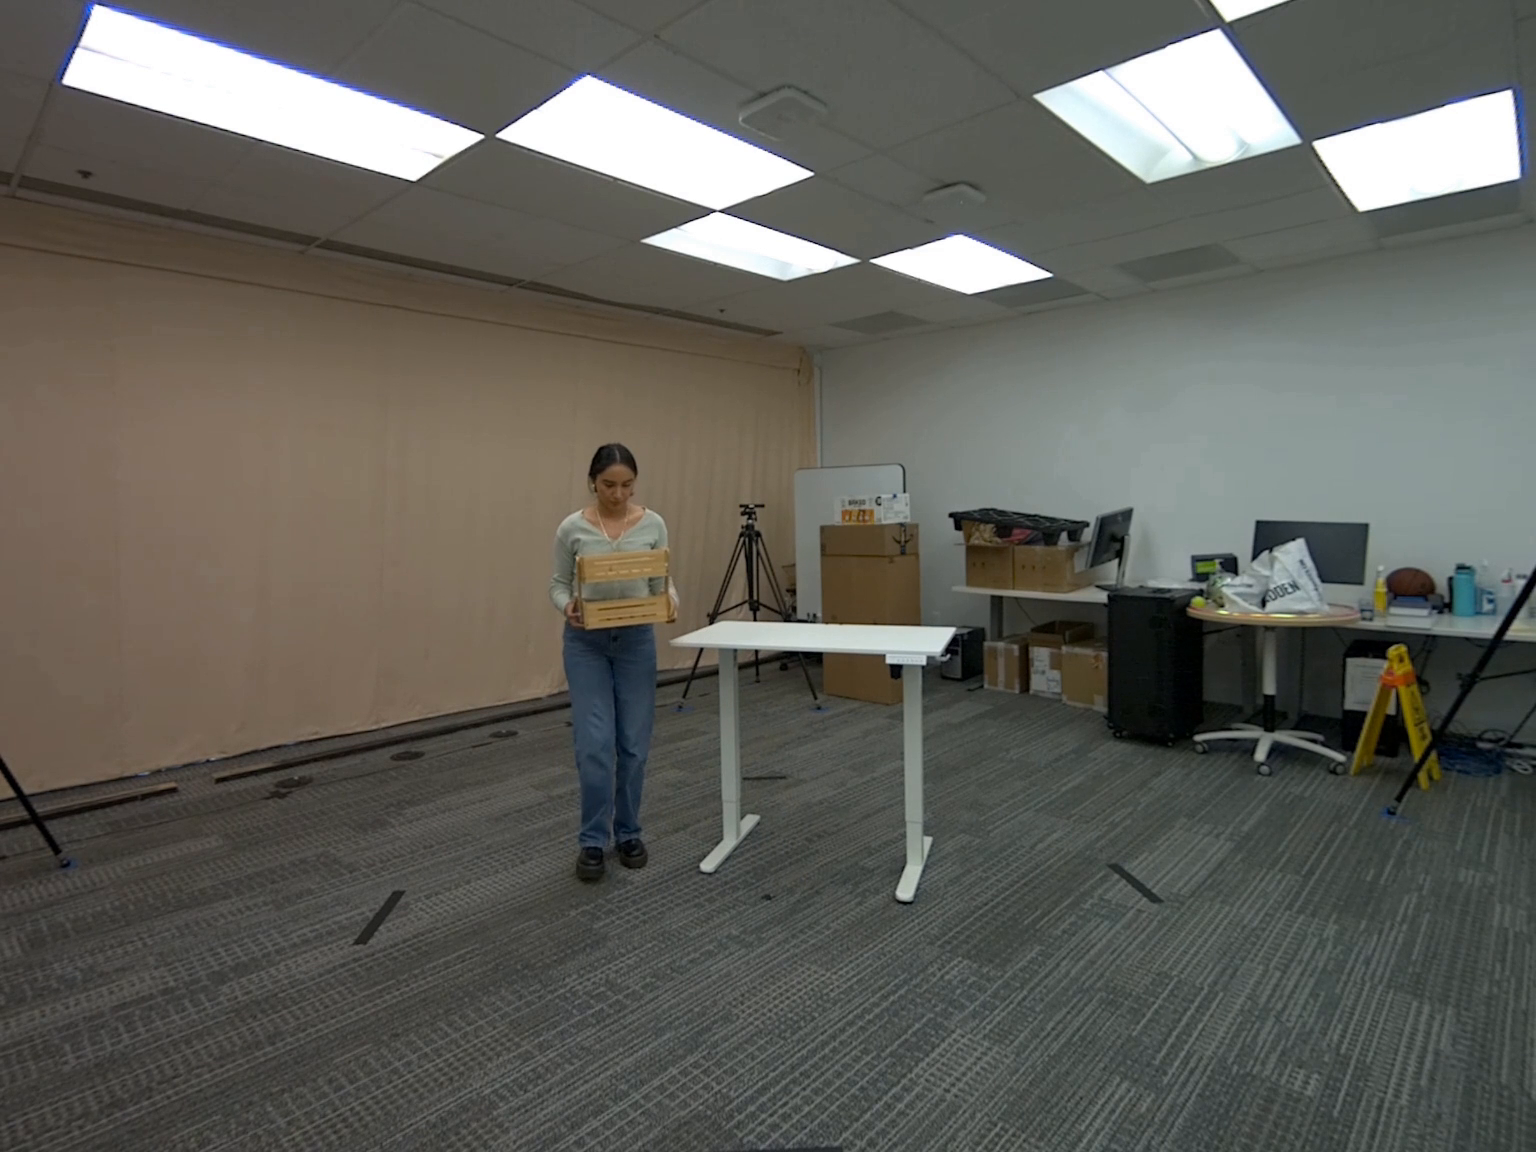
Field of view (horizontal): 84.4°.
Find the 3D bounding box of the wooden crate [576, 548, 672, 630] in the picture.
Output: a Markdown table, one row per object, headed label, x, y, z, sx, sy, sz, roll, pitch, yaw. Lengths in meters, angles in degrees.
| label | x | y | z | sx | sy | sz | roll | pitch | yaw |
| --- | --- | --- | --- | --- | --- | --- | --- | --- | --- |
| wooden crate | -0.535 | 0.033 | 3.049 | 0.320 | 0.272 | 0.308 | -6 | 6 | -16 |
